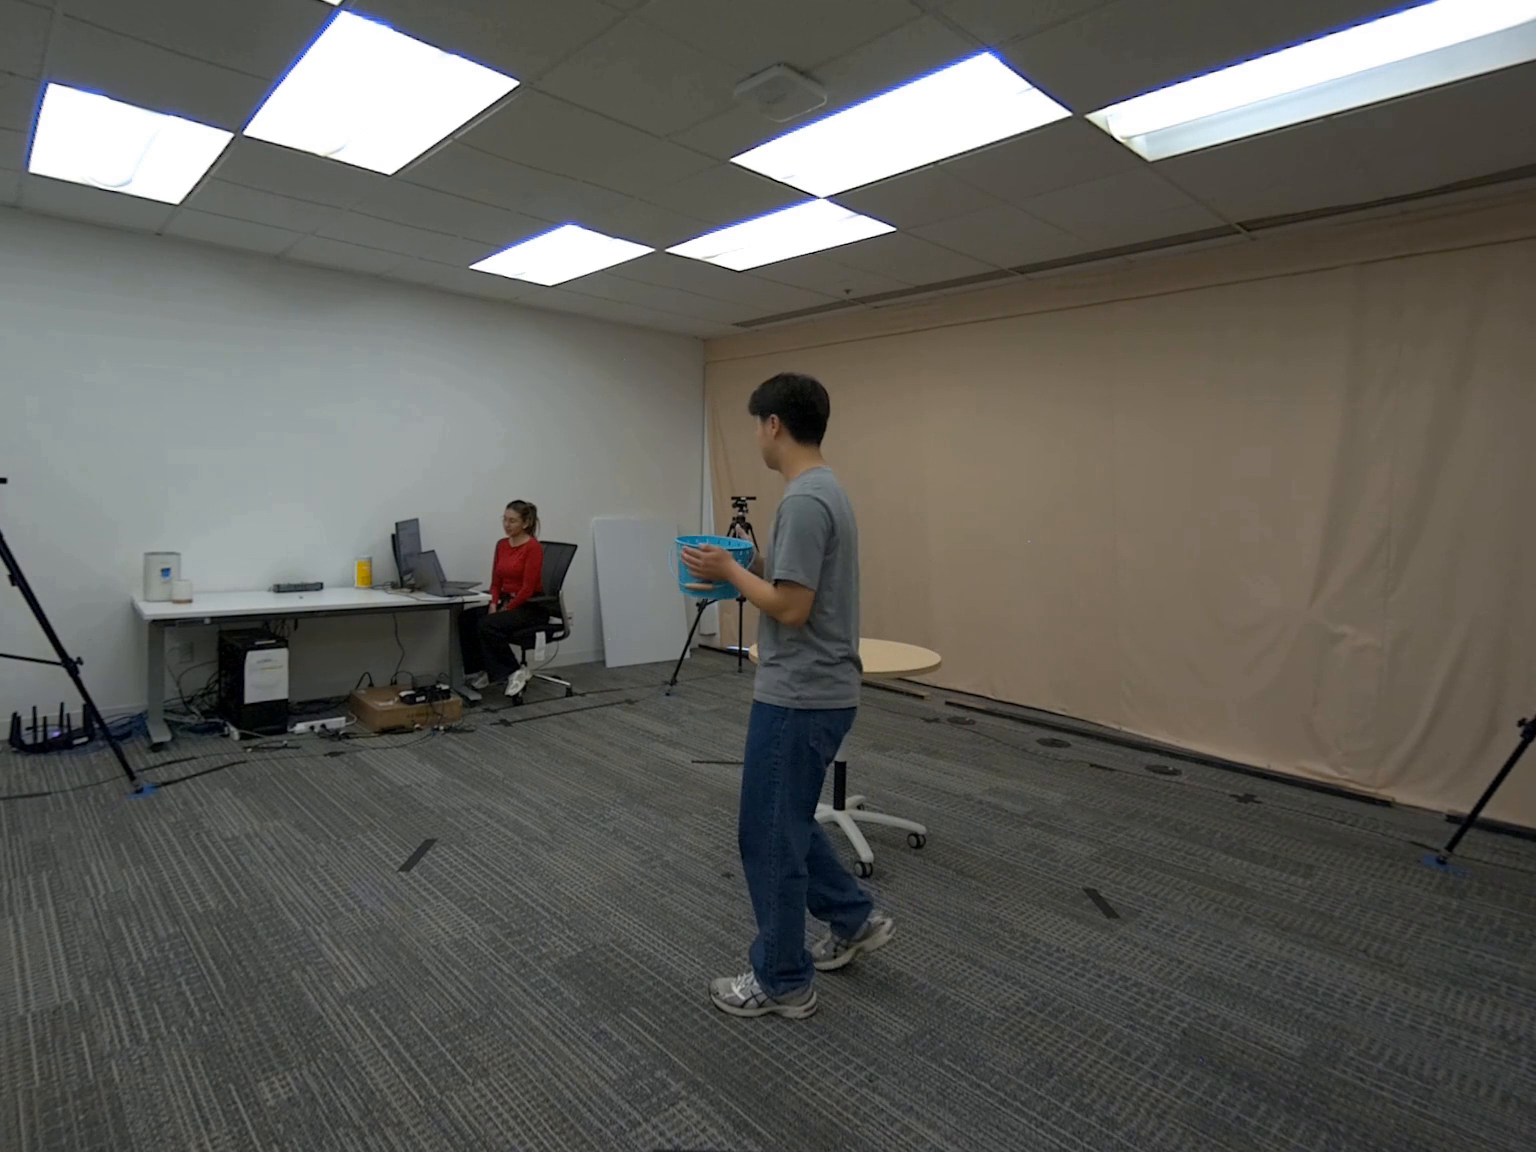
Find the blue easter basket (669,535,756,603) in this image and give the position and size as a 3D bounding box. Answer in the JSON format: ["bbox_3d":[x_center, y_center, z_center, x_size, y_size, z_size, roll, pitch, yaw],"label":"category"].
[{"bbox_3d":[-0.146,-0.017,2.439,0.243,0.155,0.245,3,7,-2],"label":"blue easter basket"}]
